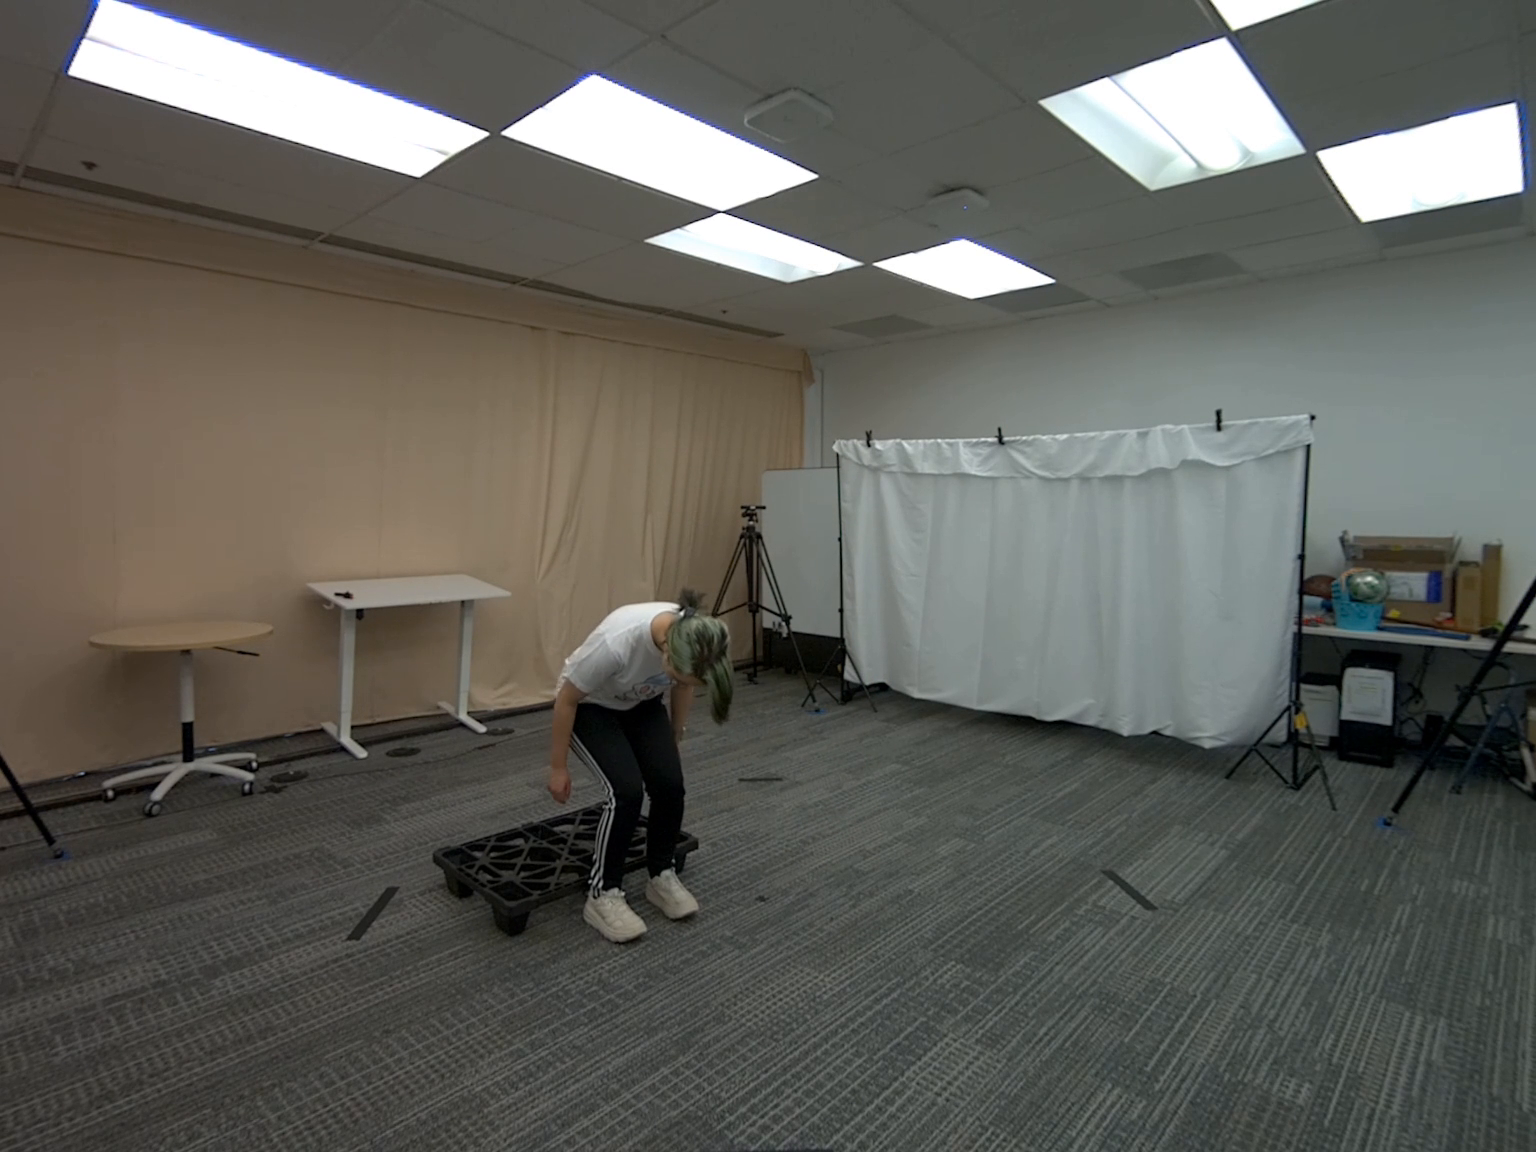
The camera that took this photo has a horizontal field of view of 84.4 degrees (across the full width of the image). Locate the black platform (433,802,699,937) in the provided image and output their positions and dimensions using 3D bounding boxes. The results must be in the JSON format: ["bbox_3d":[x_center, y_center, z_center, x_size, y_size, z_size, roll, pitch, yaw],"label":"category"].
[{"bbox_3d":[-0.740,1.070,3.139,0.781,0.143,0.625,-5,7,-43],"label":"black platform"}]
